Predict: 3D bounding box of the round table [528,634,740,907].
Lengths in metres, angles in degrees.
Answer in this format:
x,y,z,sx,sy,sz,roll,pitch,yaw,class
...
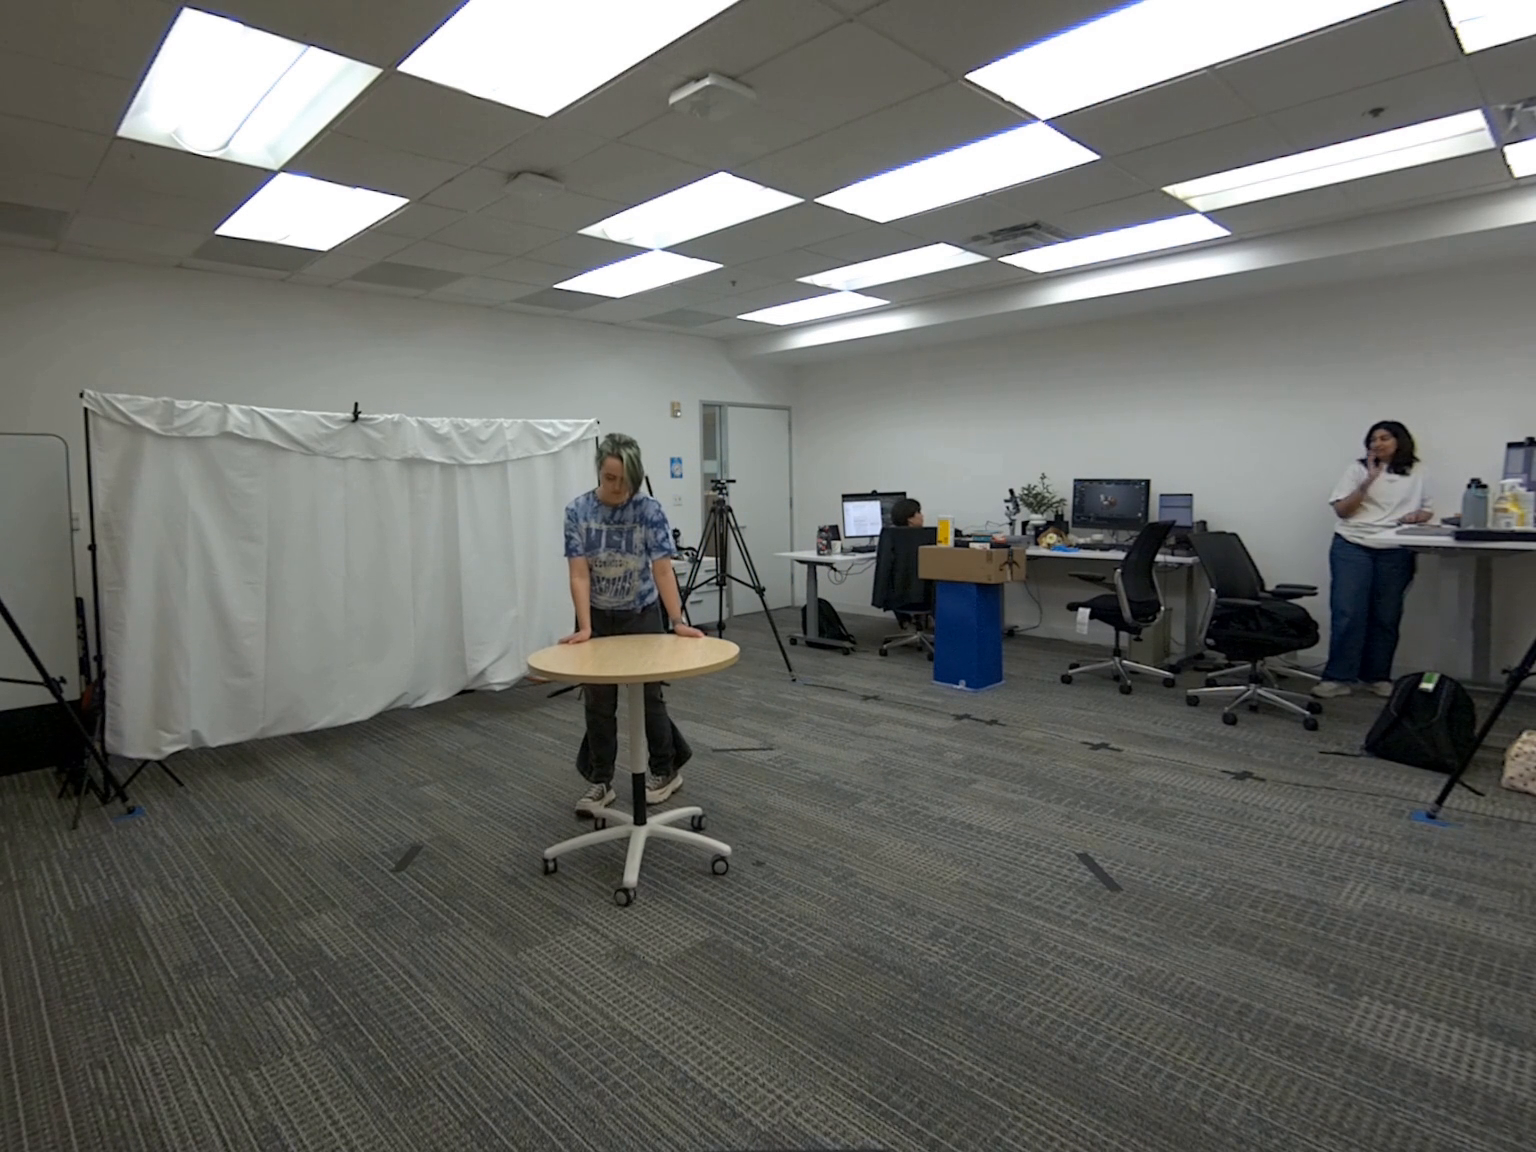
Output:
x,y,z,sx,sy,sz,roll,pitch,yaw,class
-0.475,0.668,3.130,0.763,0.791,0.767,-1,4,-2,round table
